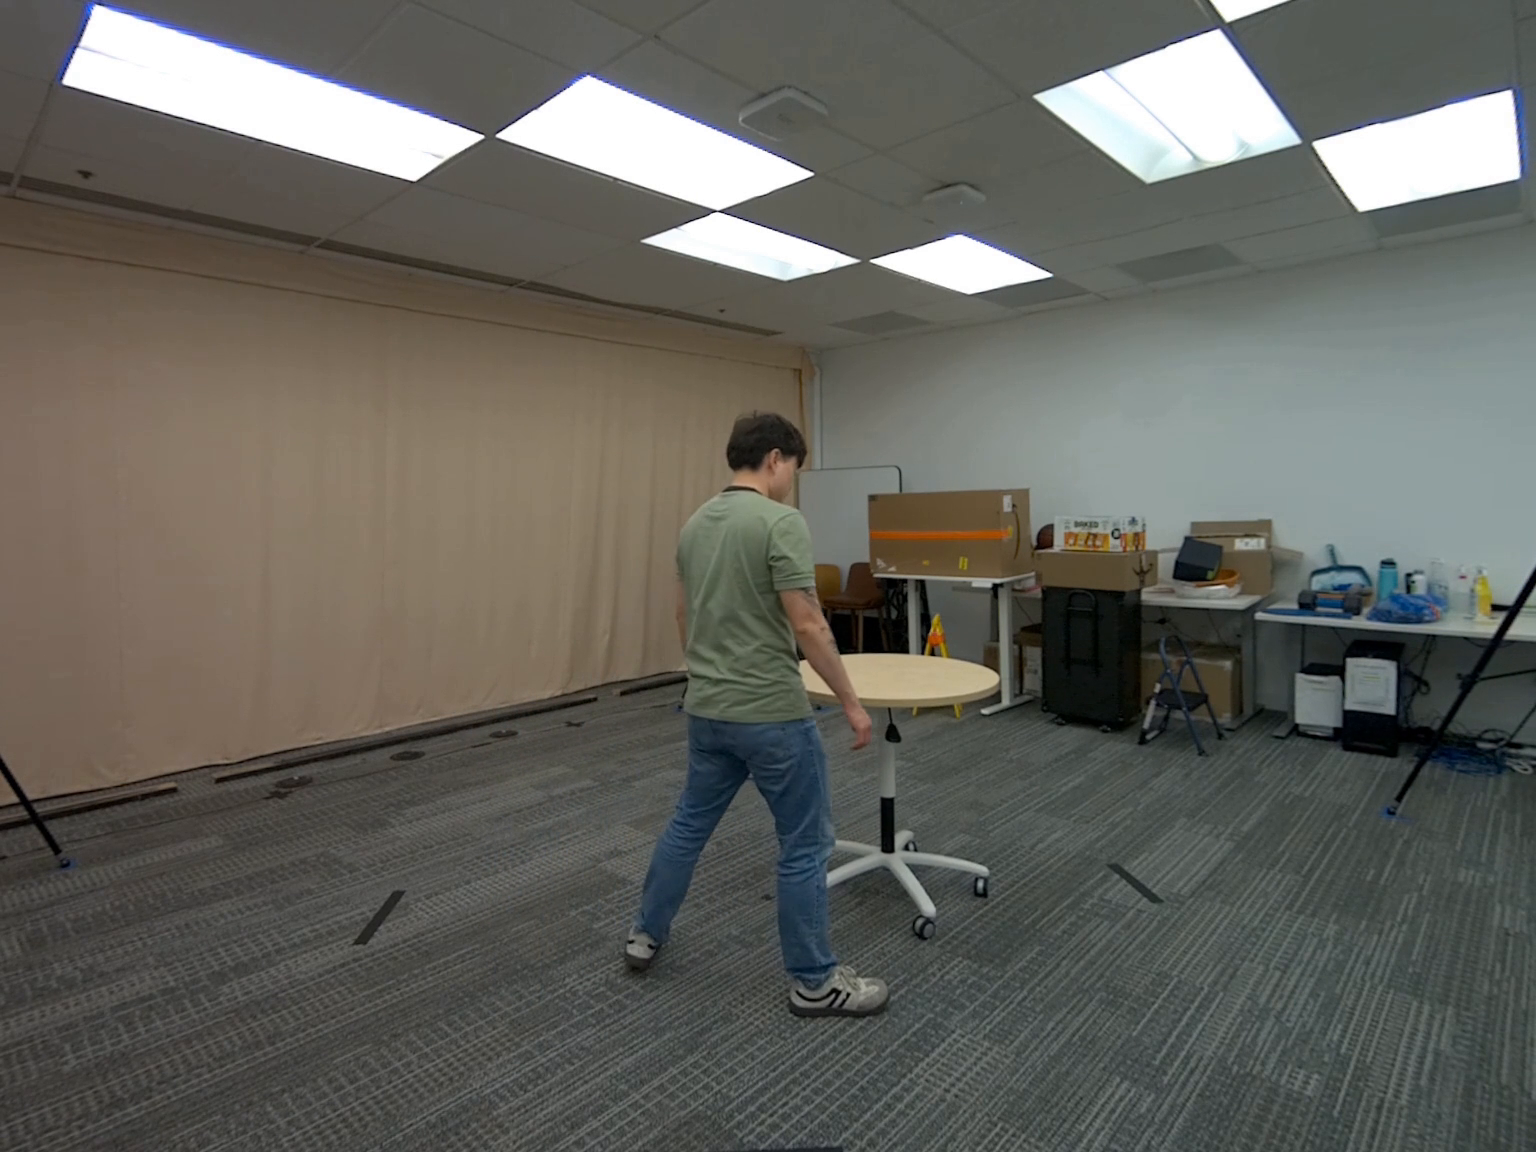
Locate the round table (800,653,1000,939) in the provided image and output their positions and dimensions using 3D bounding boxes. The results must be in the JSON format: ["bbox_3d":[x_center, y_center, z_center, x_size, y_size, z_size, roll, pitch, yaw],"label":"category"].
[{"bbox_3d":[0.429,0.740,3.007,0.763,0.792,0.767,-1,4,-2],"label":"round table"}]
